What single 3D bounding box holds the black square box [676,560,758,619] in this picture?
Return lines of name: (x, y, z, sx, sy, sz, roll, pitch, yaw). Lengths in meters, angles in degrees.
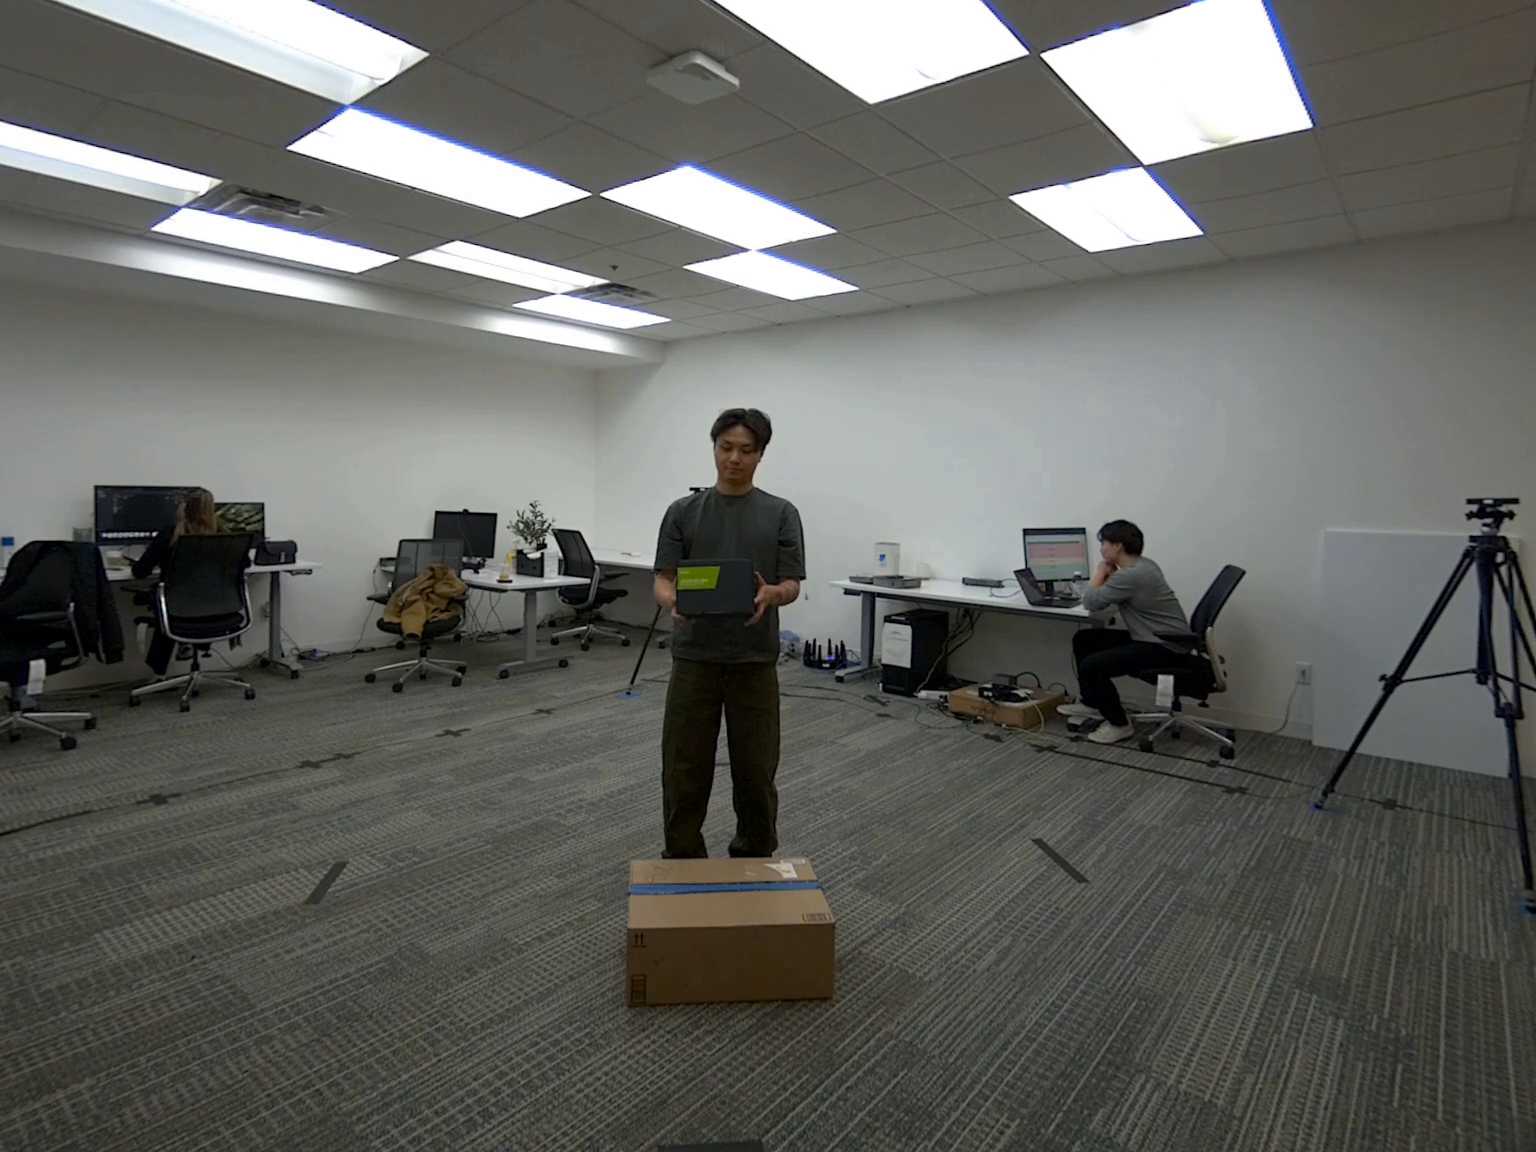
black square box: (-0.171, 0.037, 2.577, 0.228, 0.156, 0.216, 0, -3, 1)
